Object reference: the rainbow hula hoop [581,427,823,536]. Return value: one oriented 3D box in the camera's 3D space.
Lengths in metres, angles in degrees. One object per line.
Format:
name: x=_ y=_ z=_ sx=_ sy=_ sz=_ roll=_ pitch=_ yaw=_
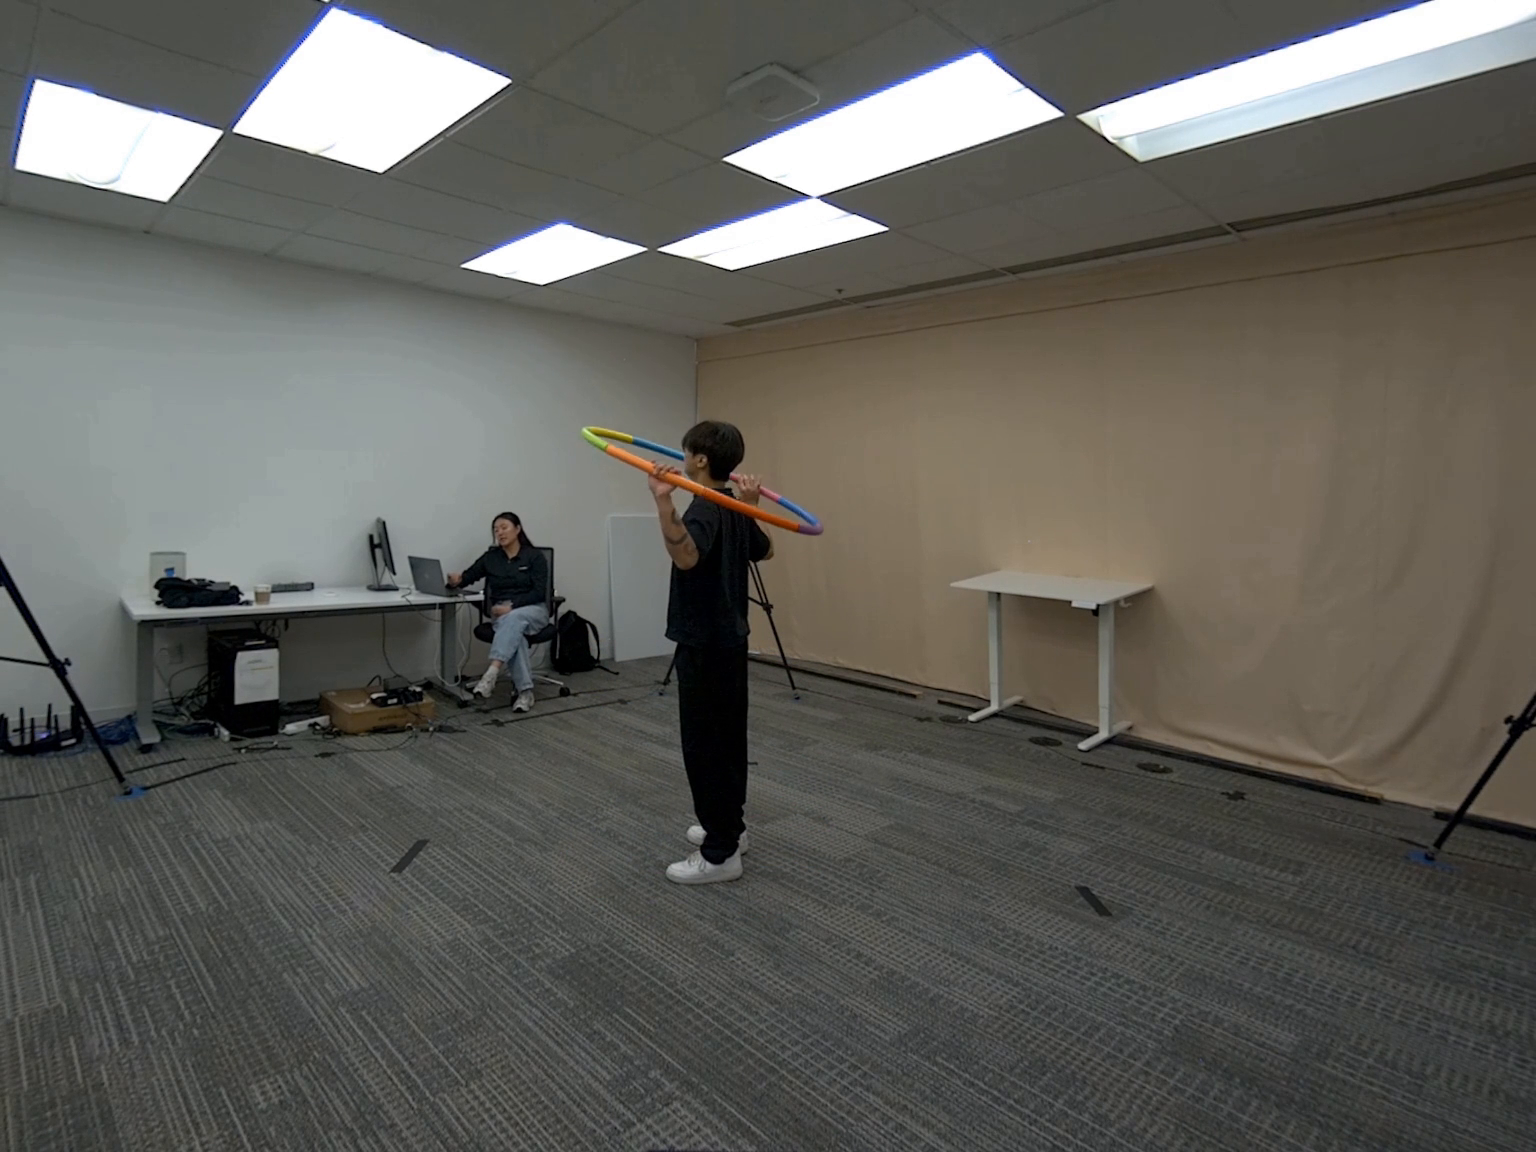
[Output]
rainbow hula hoop: x=-0.235 y=-0.355 z=3.156 sx=0.974 sy=0.035 sz=0.987 roll=21 pitch=11 yaw=-6
